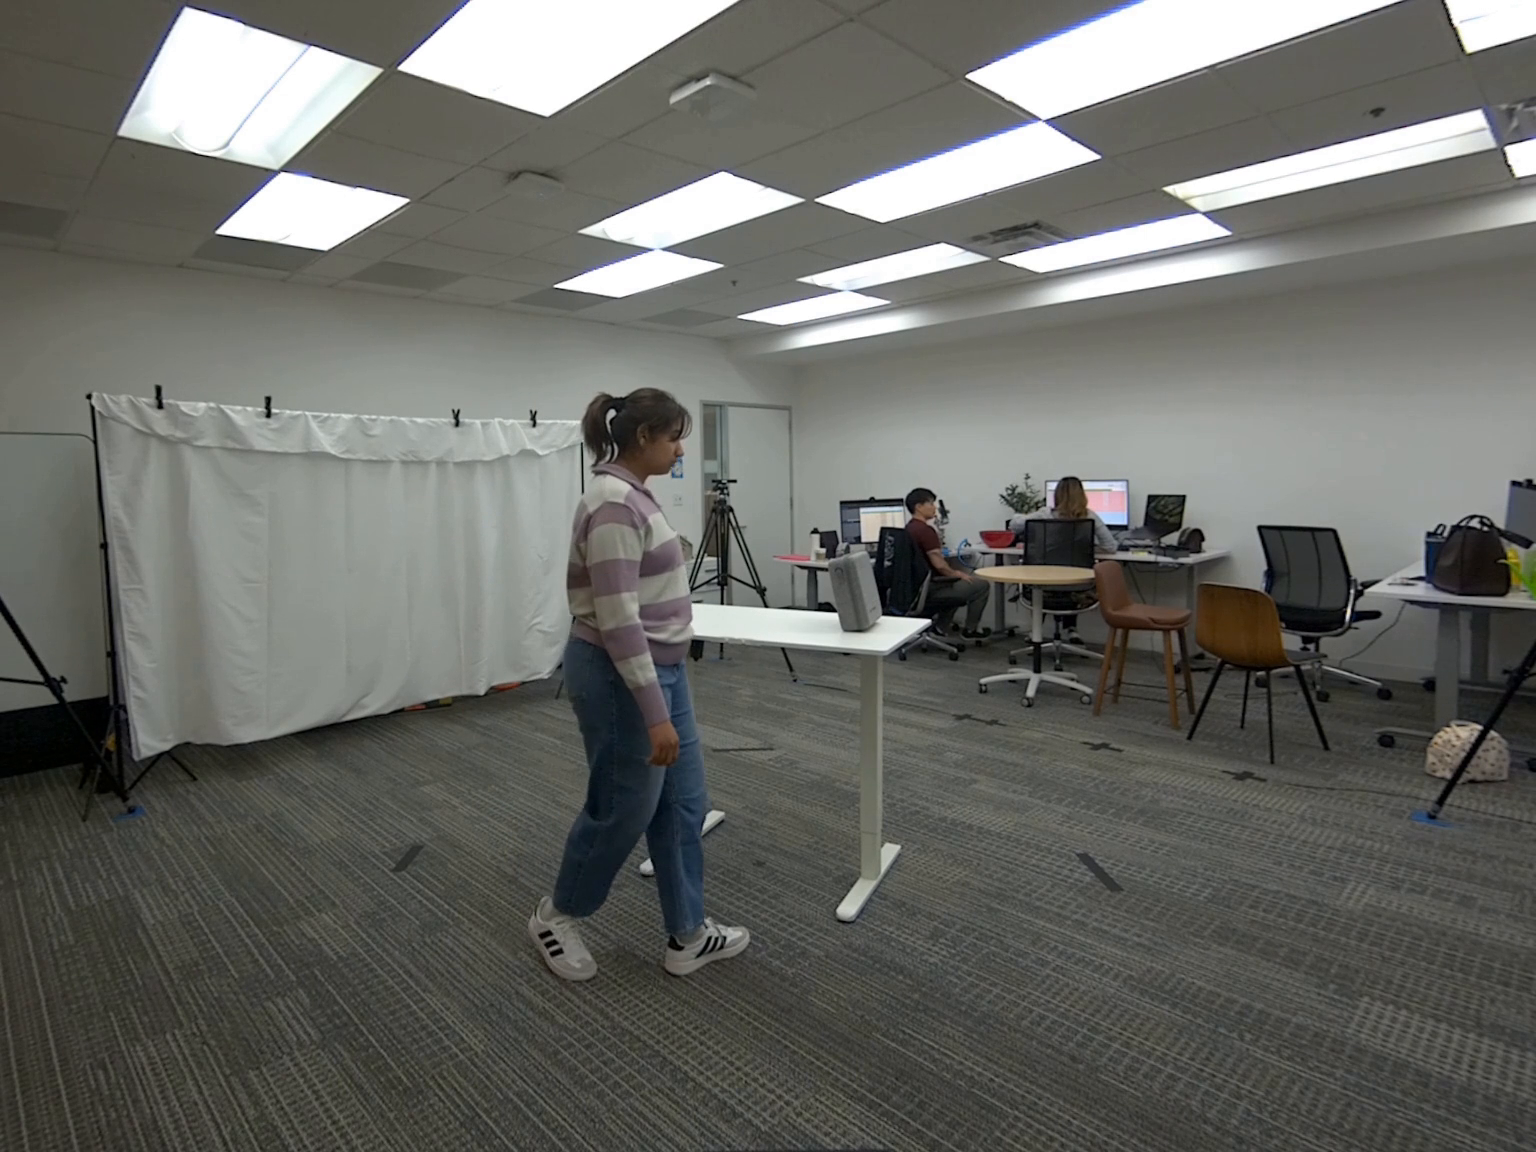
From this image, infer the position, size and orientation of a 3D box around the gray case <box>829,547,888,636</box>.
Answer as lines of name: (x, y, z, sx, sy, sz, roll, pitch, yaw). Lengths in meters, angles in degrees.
gray case: (0.314, 0.046, 2.959, 0.106, 0.261, 0.253, -11, 1, 18)
